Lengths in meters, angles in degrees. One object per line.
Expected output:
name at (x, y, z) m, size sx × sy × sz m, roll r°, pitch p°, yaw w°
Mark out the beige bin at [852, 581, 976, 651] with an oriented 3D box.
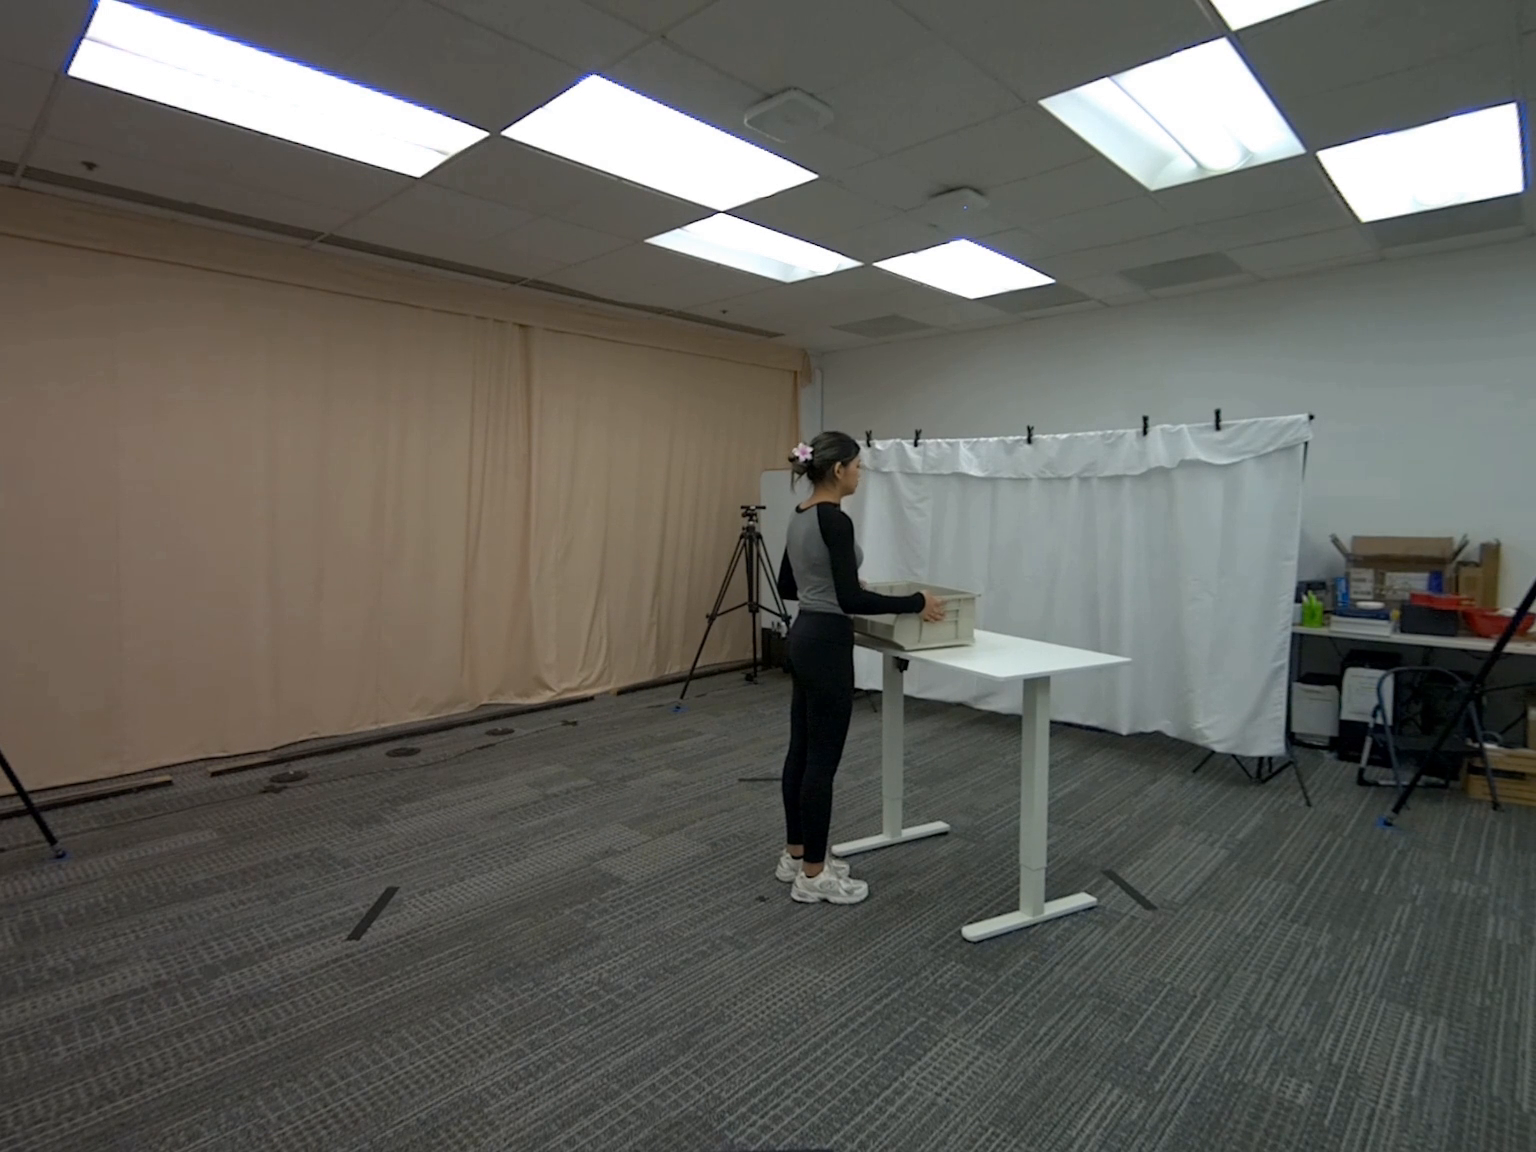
beige bin at (0.500, 0.141, 3.146) m, size 0.368 × 0.188 × 0.434 m, roll -1°, pitch 6°, yaw -26°
